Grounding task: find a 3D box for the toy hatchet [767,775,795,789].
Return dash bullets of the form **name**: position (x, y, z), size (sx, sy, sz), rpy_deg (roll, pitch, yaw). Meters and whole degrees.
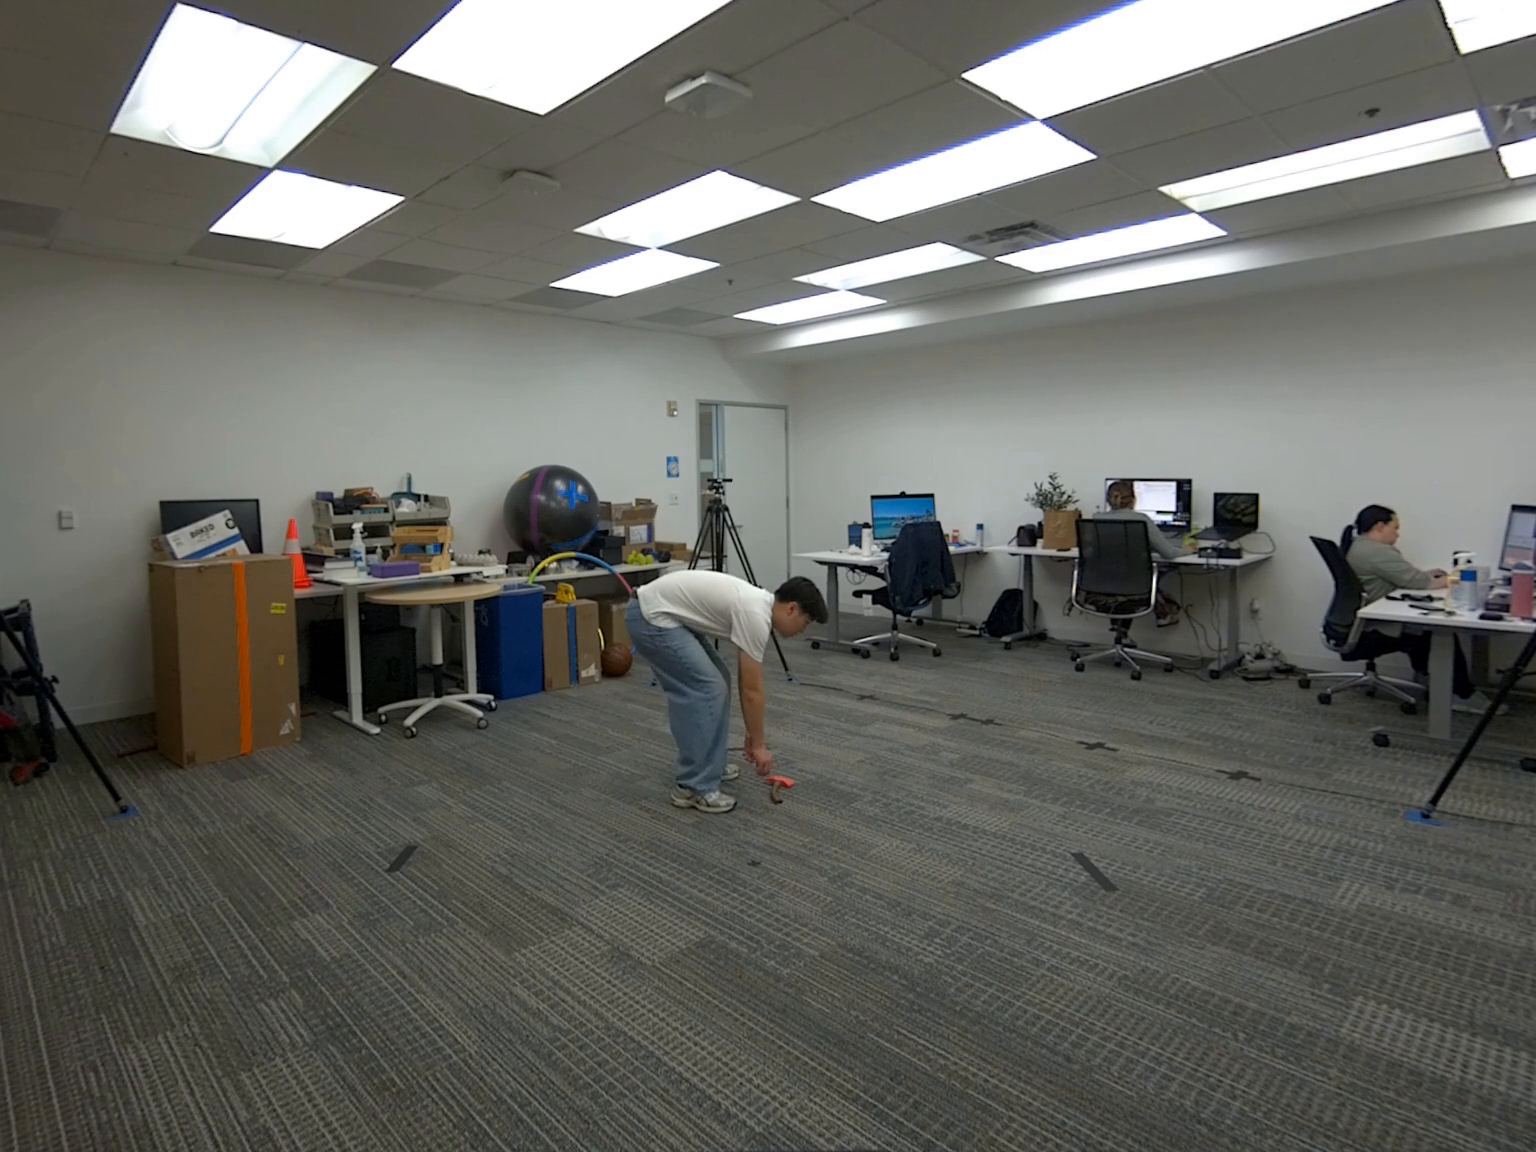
- **toy hatchet**: position (0.067, 0.951, 3.801), size (0.130, 0.029, 0.274), rpy_deg (2, 9, -8)
